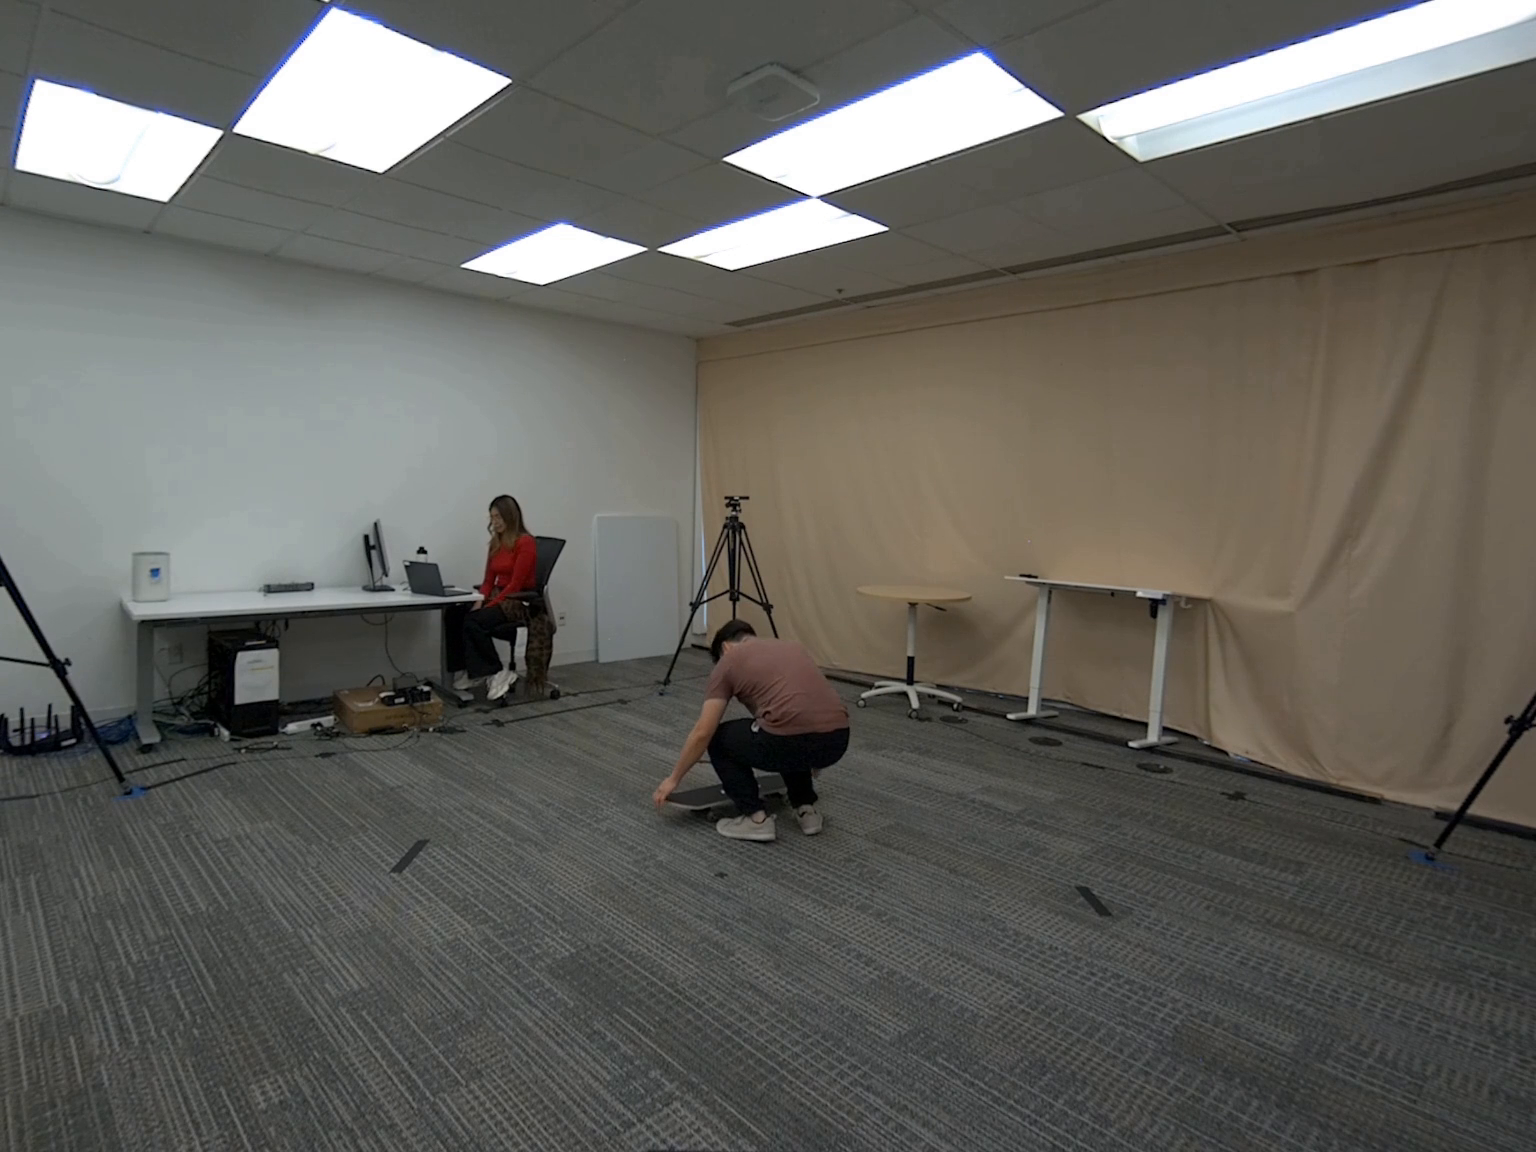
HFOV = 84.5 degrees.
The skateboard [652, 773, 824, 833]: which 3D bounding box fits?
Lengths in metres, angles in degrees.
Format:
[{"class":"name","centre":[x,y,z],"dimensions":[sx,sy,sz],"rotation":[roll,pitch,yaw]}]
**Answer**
[{"class":"skateboard","centre":[-0.124,0.989,3.782],"dimensions":[0.768,0.110,0.198],"rotation":[-1,4,-34]}]
